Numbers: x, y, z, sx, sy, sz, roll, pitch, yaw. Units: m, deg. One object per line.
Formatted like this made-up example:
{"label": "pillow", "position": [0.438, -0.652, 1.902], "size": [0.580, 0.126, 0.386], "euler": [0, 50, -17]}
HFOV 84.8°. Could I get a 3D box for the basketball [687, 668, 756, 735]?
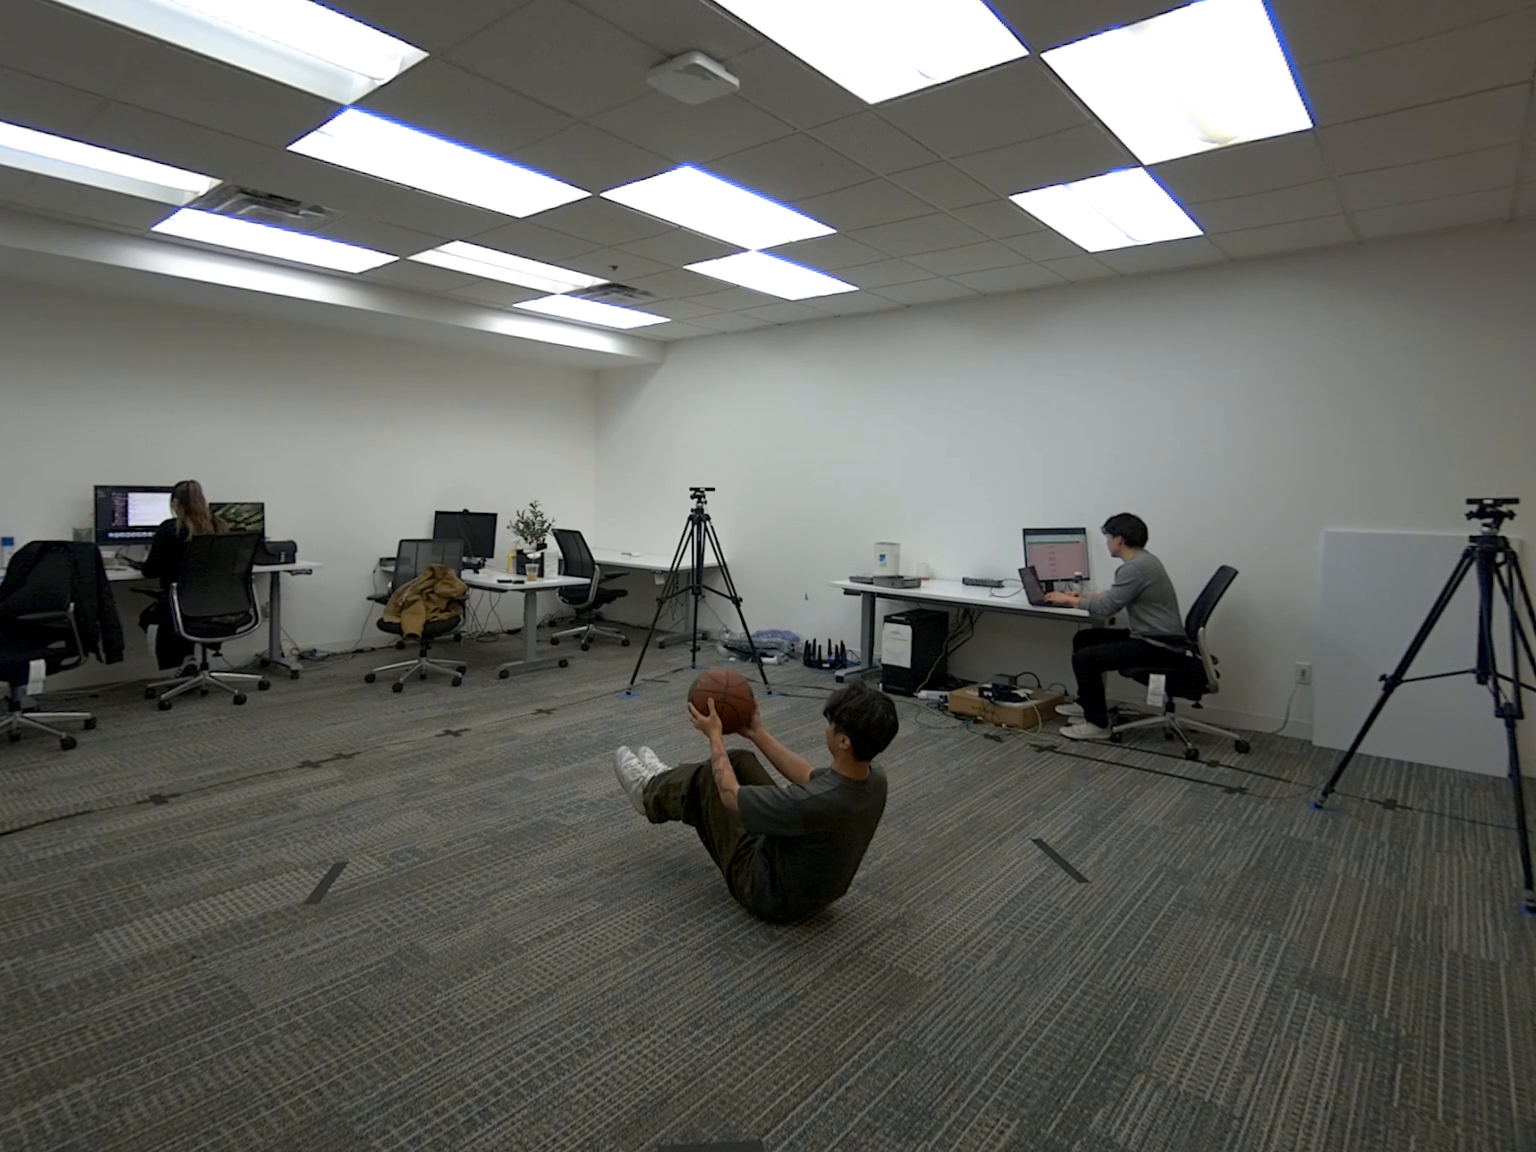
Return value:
{"label": "basketball", "position": [-0.177, 0.448, 3.046], "size": [0.235, 0.235, 0.237], "euler": [1, 4, -2]}
